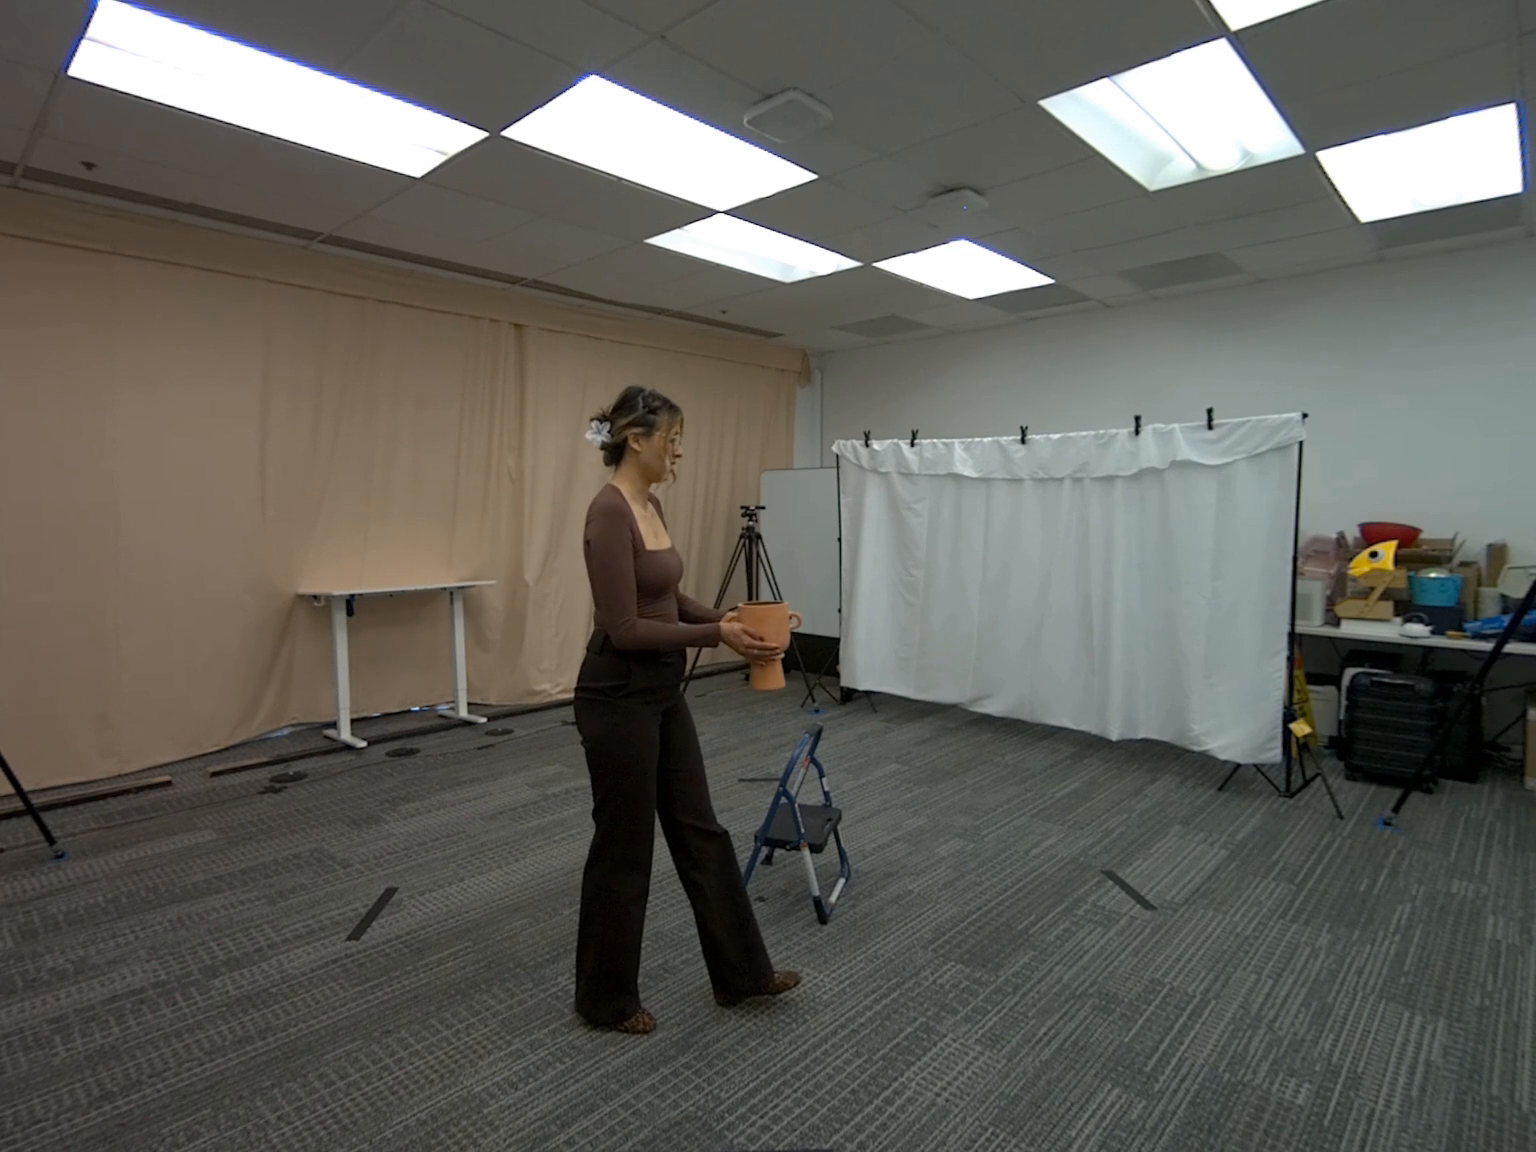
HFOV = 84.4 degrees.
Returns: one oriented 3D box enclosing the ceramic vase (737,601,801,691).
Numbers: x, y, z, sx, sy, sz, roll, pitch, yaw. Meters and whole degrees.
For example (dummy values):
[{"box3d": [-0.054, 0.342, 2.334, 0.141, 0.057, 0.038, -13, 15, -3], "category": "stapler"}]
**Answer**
[{"box3d": [0.000, 0.182, 2.188, 0.164, 0.219, 0.130, 1, 4, 43], "category": "ceramic vase"}]
